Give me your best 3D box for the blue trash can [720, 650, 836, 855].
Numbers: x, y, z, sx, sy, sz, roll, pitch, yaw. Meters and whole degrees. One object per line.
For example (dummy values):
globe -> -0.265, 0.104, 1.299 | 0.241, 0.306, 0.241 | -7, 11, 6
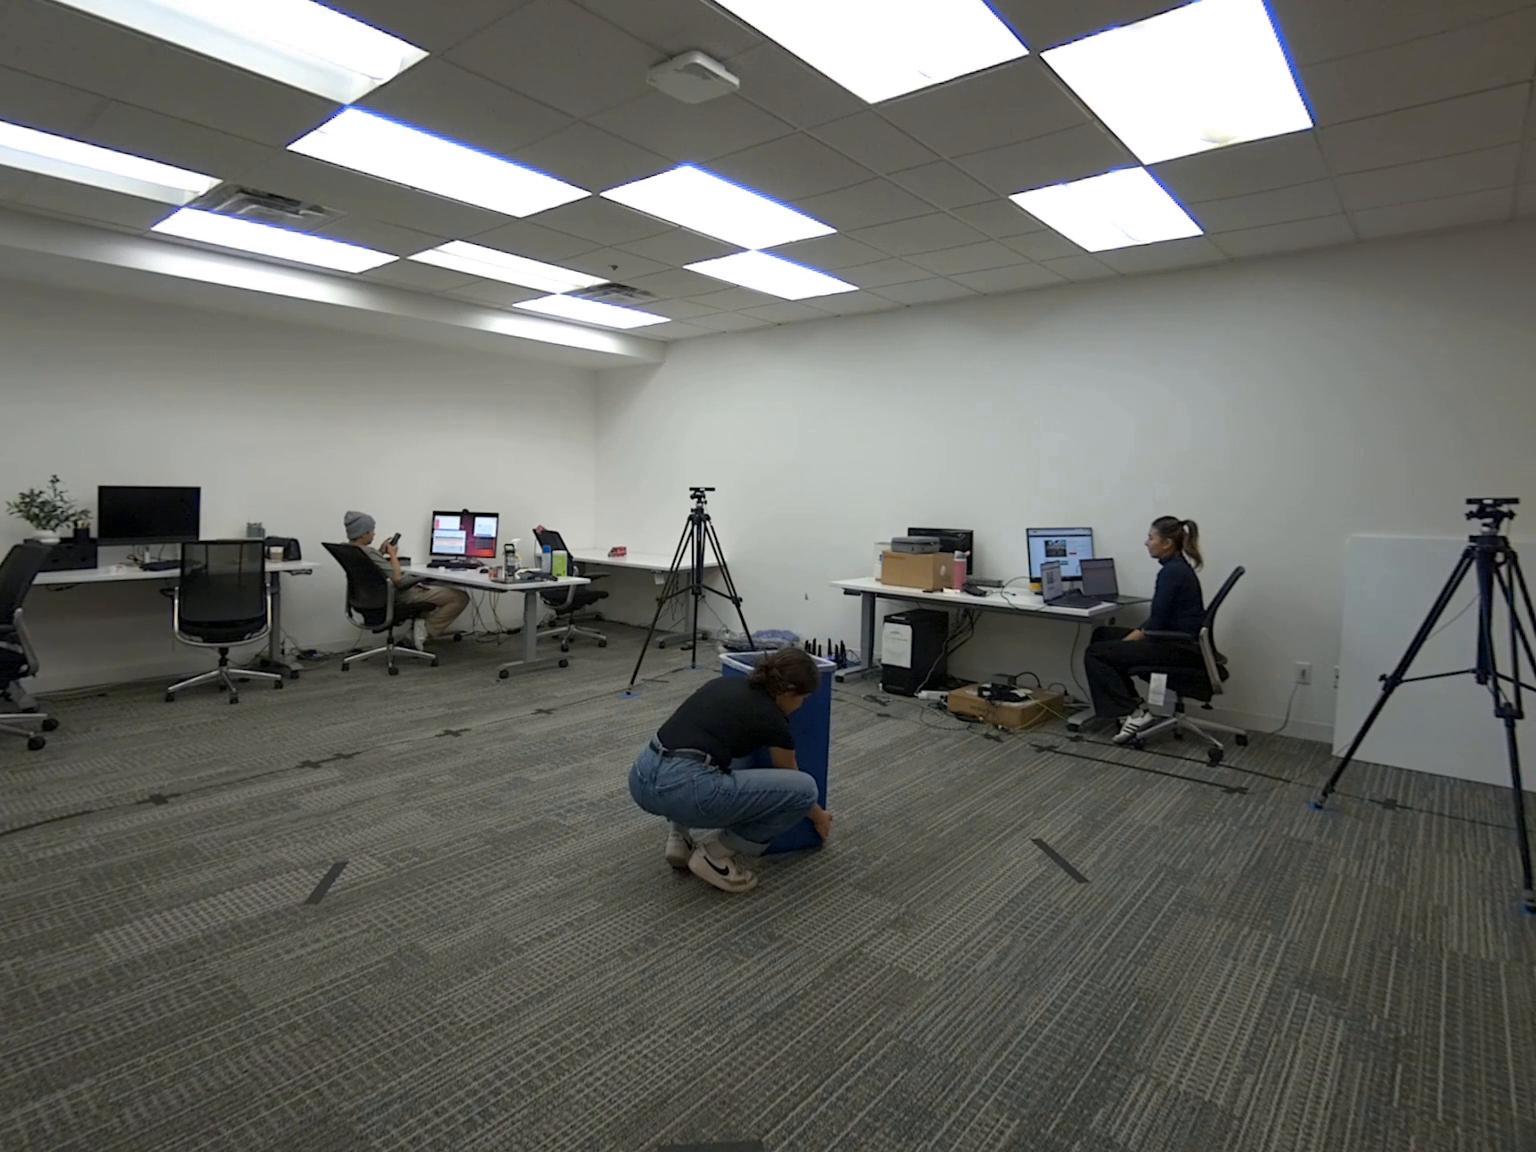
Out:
blue trash can -> 0.028, 0.679, 3.405 | 0.369, 0.712, 0.384 | 0, 3, -24
